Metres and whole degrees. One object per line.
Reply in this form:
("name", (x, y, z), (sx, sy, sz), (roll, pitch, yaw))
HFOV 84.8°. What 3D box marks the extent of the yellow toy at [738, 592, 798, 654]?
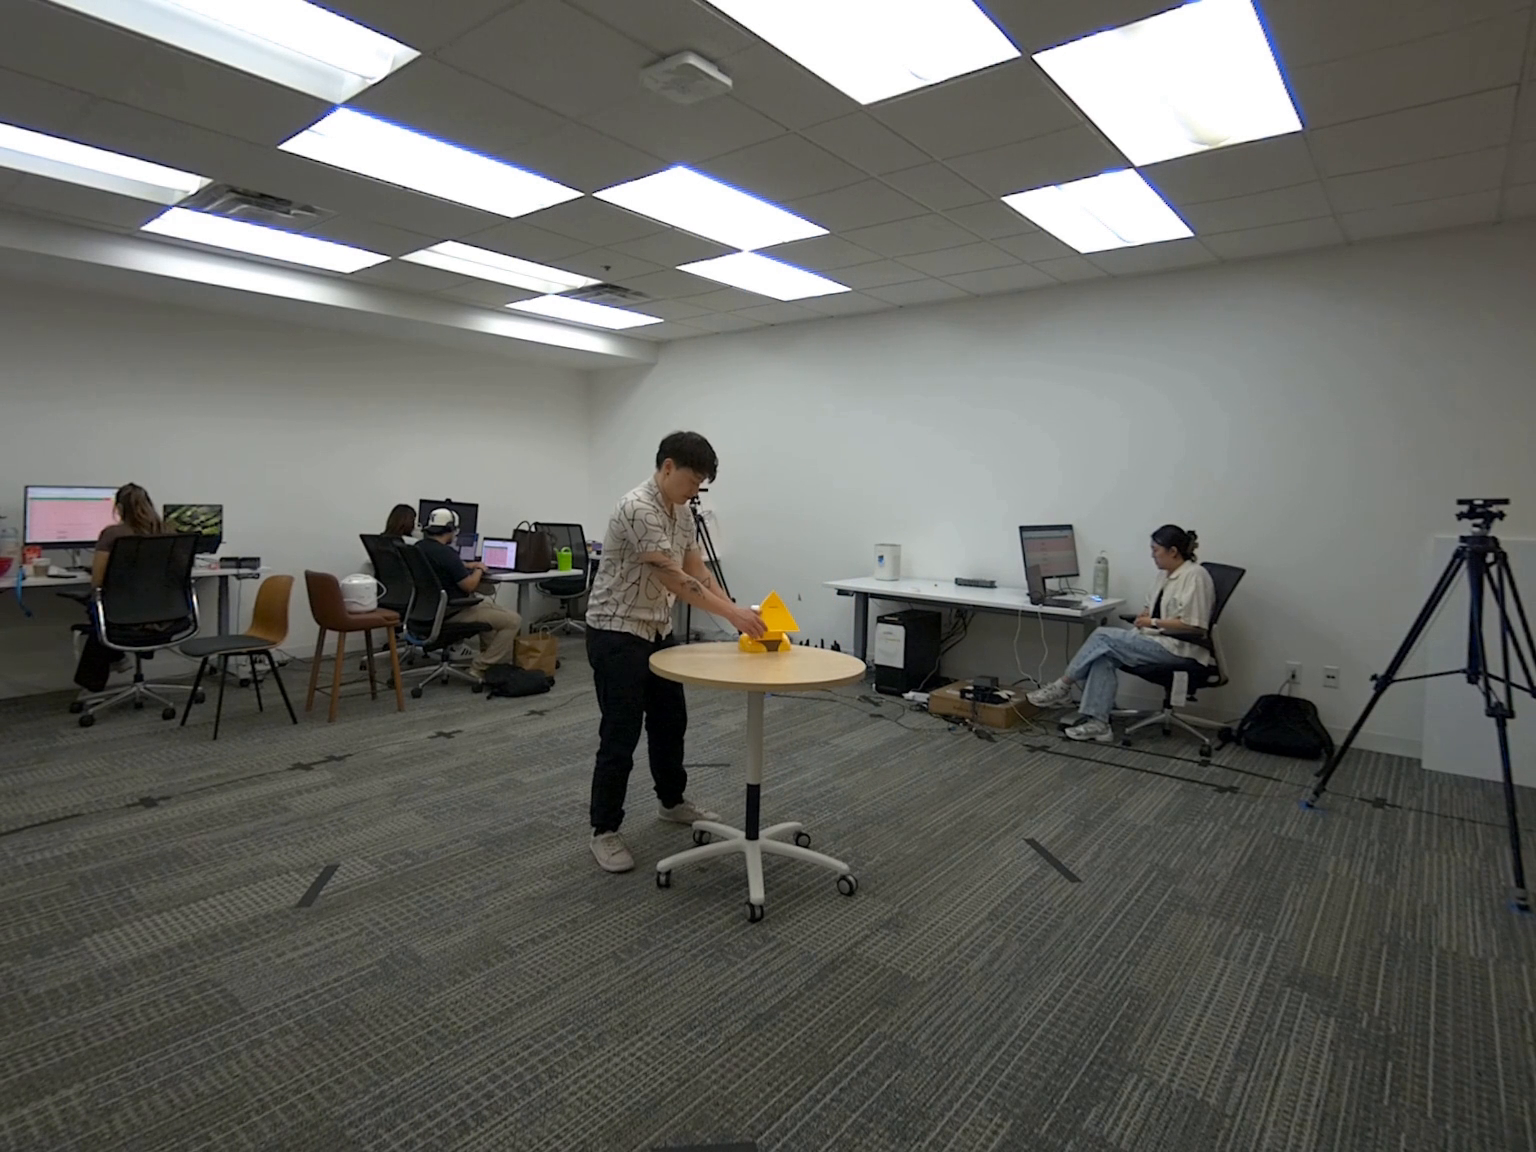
("yellow toy", (-0.019, 0.163, 3.272), (0.200, 0.230, 0.198), (1, 3, -23))
